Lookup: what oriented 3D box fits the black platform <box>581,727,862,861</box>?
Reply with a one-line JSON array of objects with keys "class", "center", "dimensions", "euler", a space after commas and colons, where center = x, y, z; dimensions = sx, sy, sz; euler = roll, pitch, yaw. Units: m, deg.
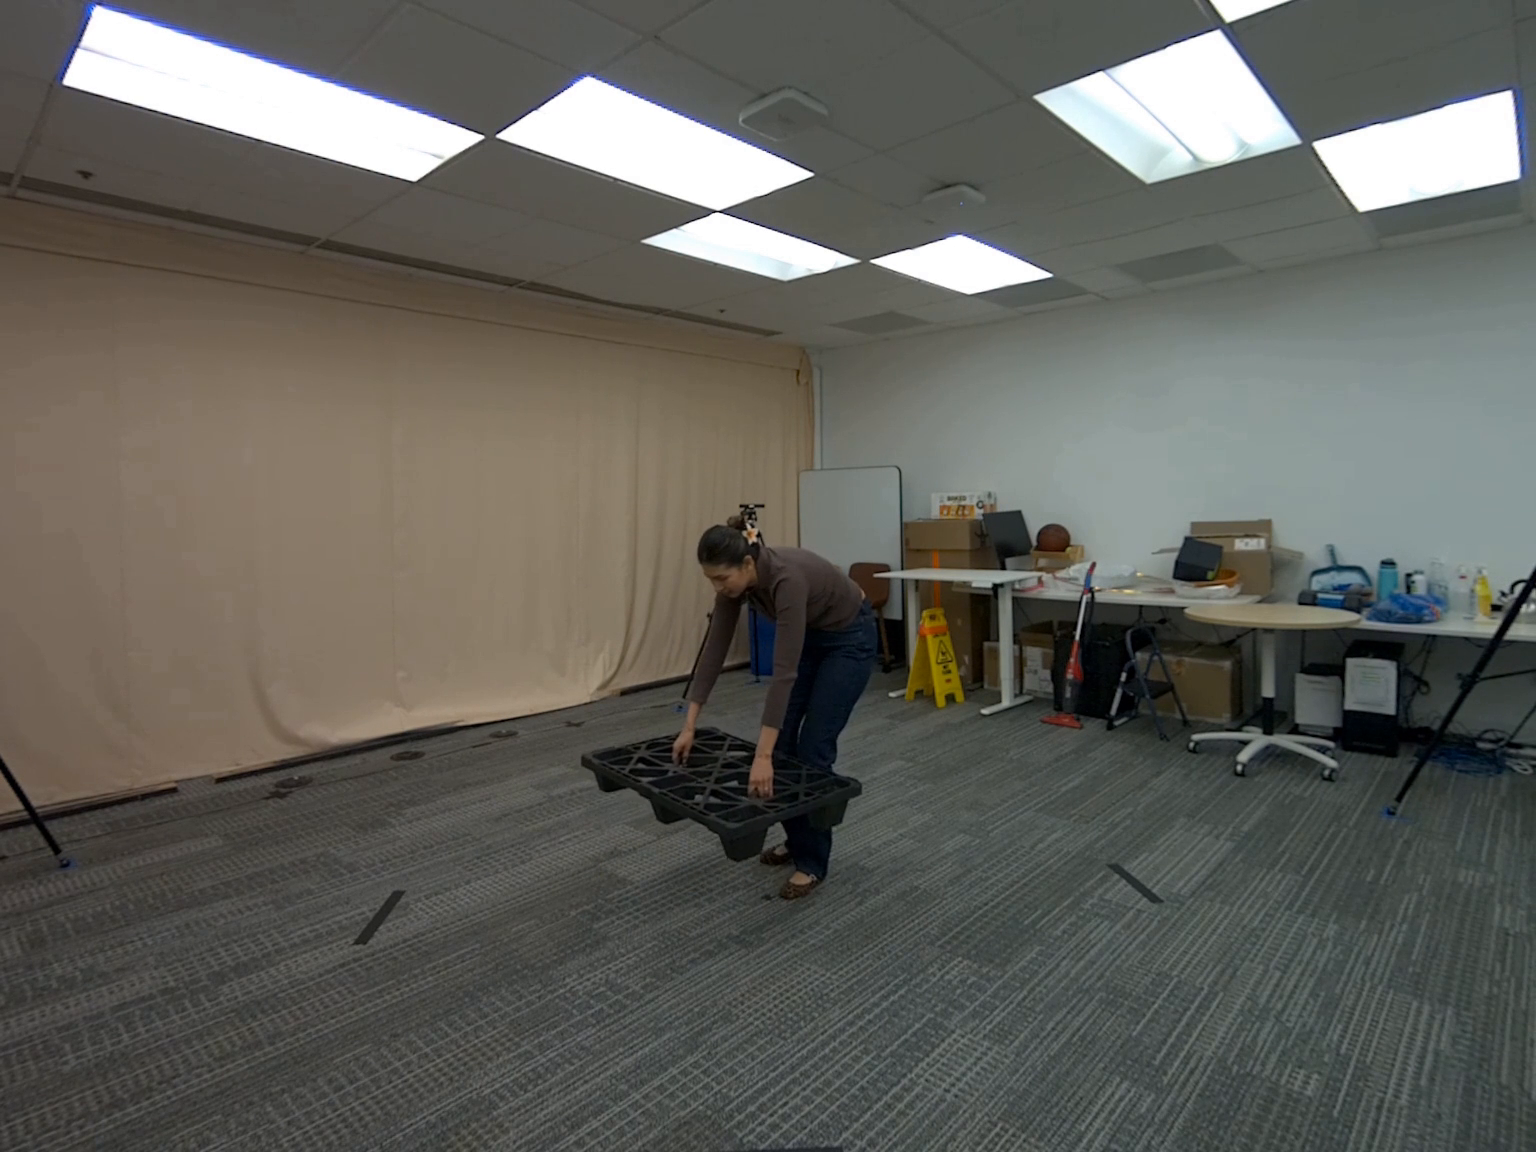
[{"class": "black platform", "center": [-0.176, 0.723, 2.881], "dimensions": [0.586, 0.143, 0.833], "euler": [-4, 9, -42]}]
